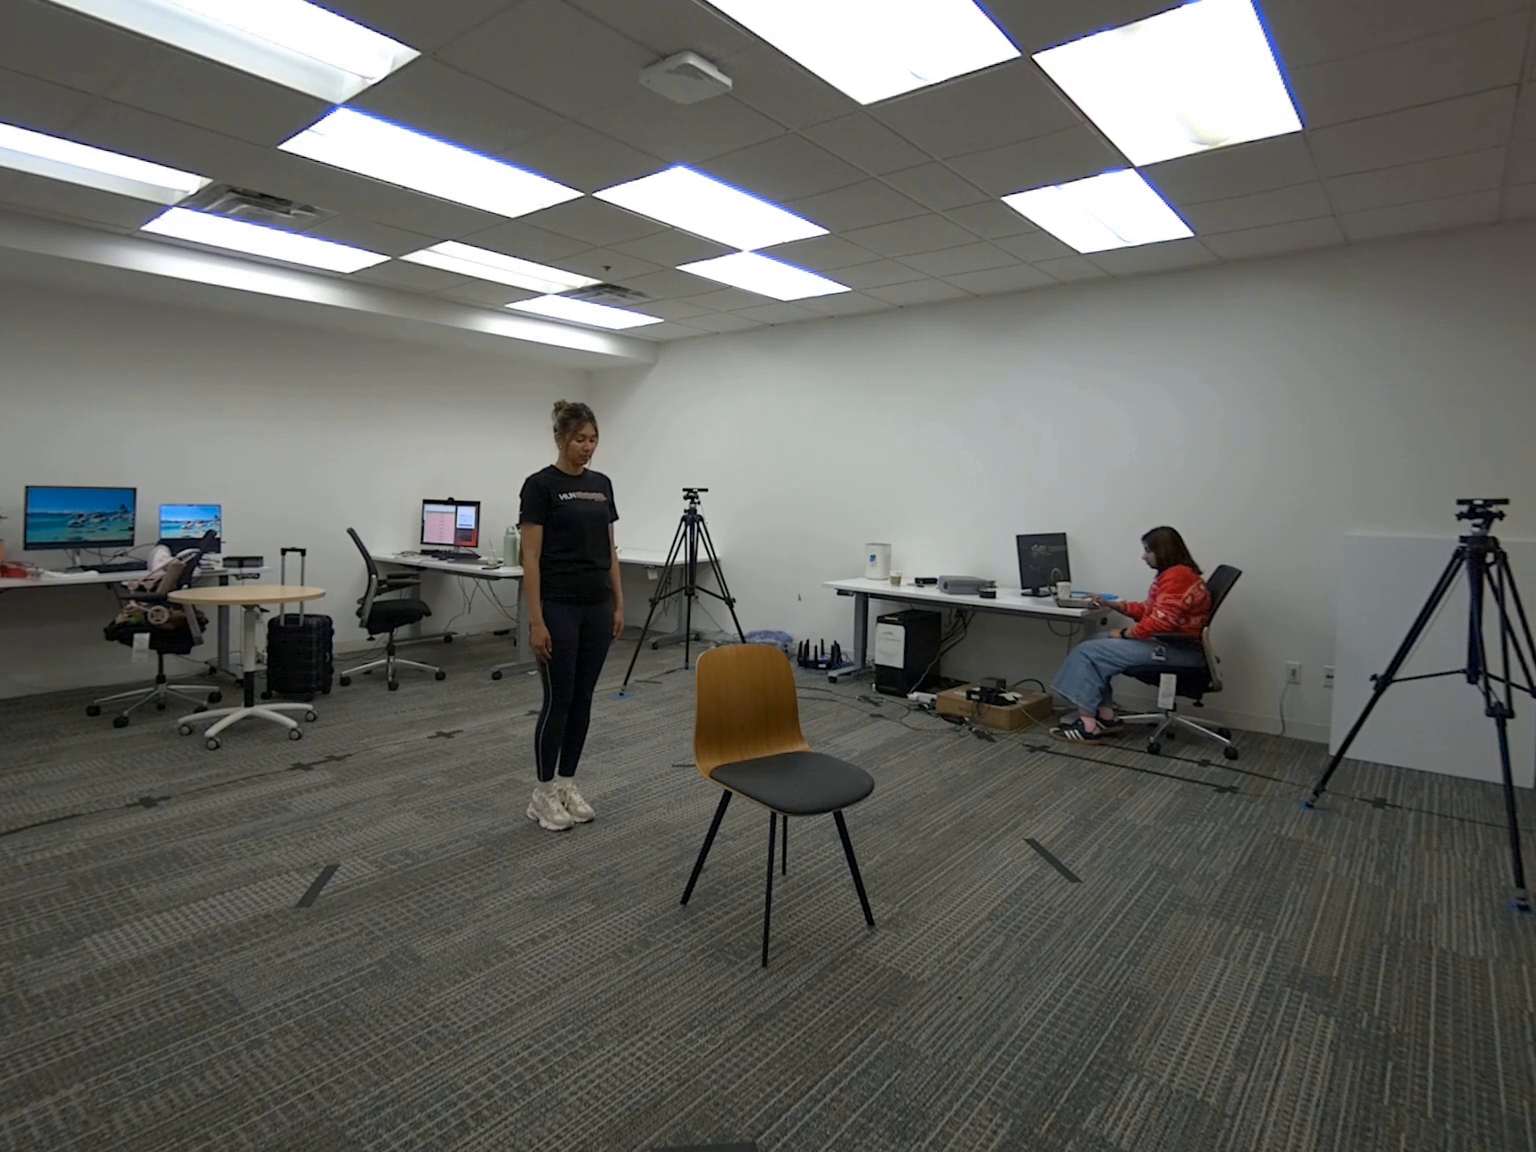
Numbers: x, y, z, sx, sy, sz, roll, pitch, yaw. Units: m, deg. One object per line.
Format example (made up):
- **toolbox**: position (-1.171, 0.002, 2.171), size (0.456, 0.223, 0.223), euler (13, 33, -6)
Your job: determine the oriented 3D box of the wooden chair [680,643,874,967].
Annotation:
- **wooden chair**: position (0.037, 0.683, 2.750), size (0.464, 0.878, 0.539), euler (-1, 0, -37)
